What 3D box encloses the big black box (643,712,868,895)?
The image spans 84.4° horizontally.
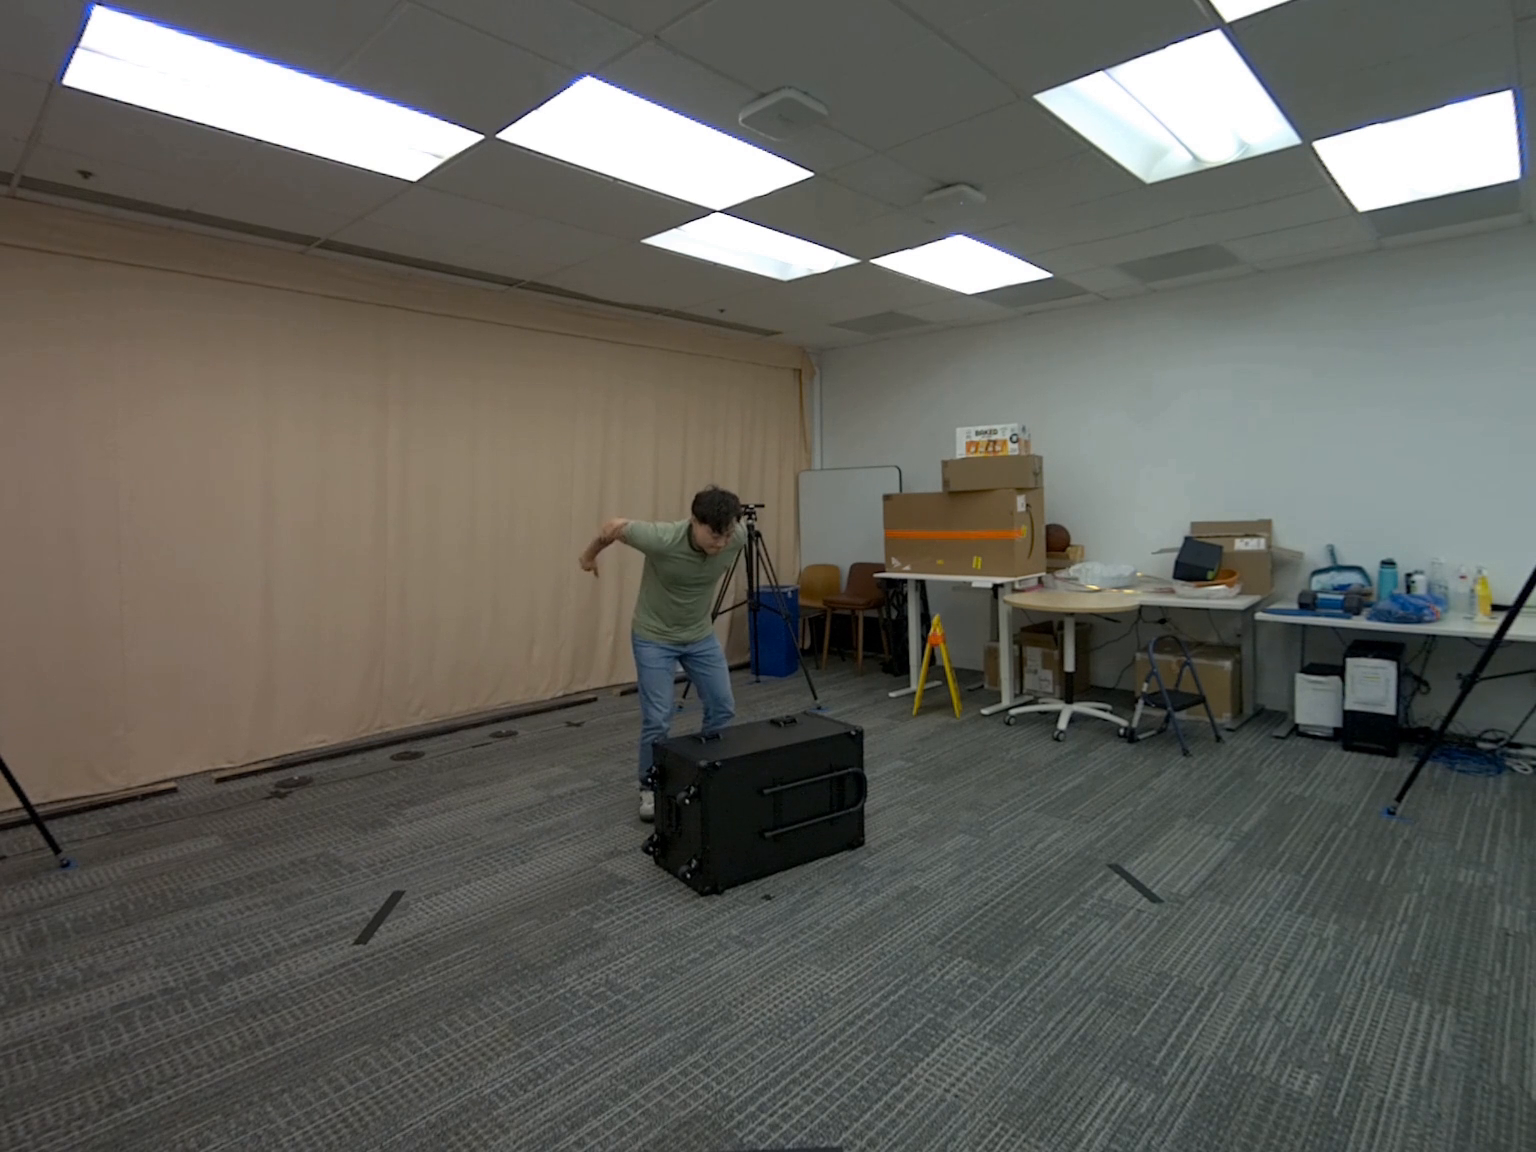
[{"bbox_3d":[-0.043,0.871,3.308,0.837,0.520,0.408,-4,5,-34],"label":"big black box"}]
